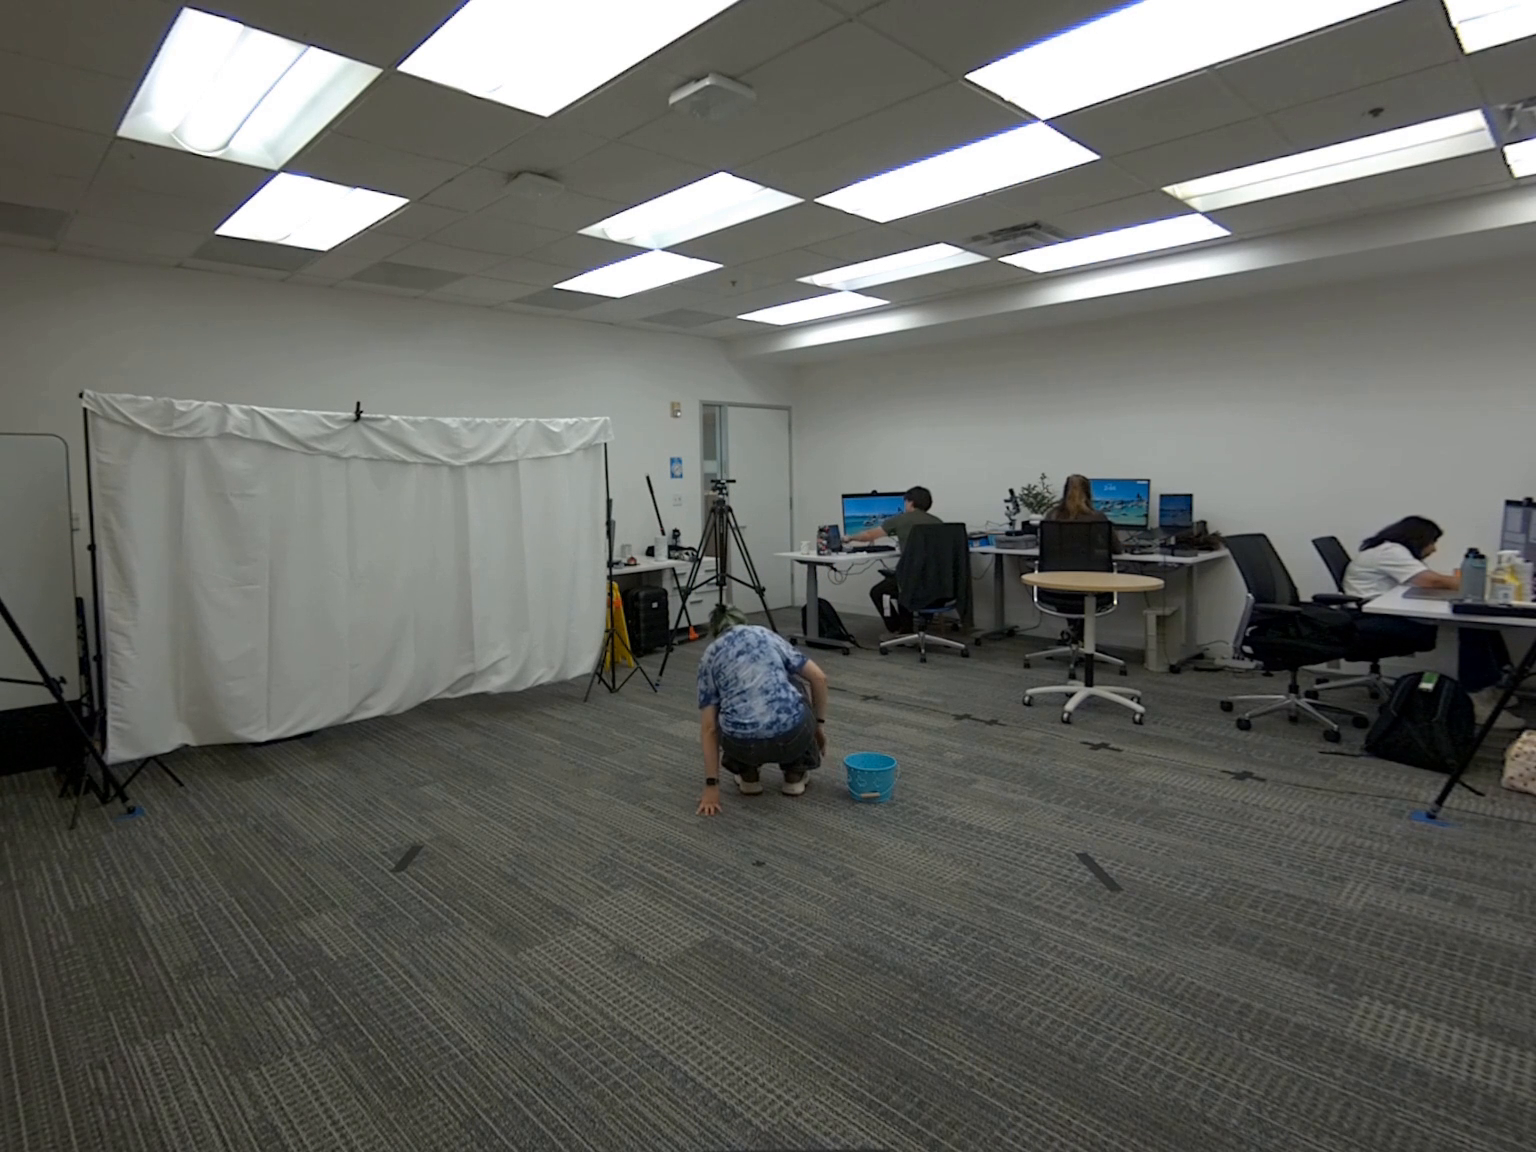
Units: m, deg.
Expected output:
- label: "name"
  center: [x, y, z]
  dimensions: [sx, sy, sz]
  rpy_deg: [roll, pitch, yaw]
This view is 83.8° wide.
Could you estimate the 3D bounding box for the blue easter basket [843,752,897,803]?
- label: "blue easter basket"
  center: [0.447, 0.880, 3.761]
  dimensions: [0.243, 0.155, 0.245]
  rpy_deg: [0, 5, -2]
